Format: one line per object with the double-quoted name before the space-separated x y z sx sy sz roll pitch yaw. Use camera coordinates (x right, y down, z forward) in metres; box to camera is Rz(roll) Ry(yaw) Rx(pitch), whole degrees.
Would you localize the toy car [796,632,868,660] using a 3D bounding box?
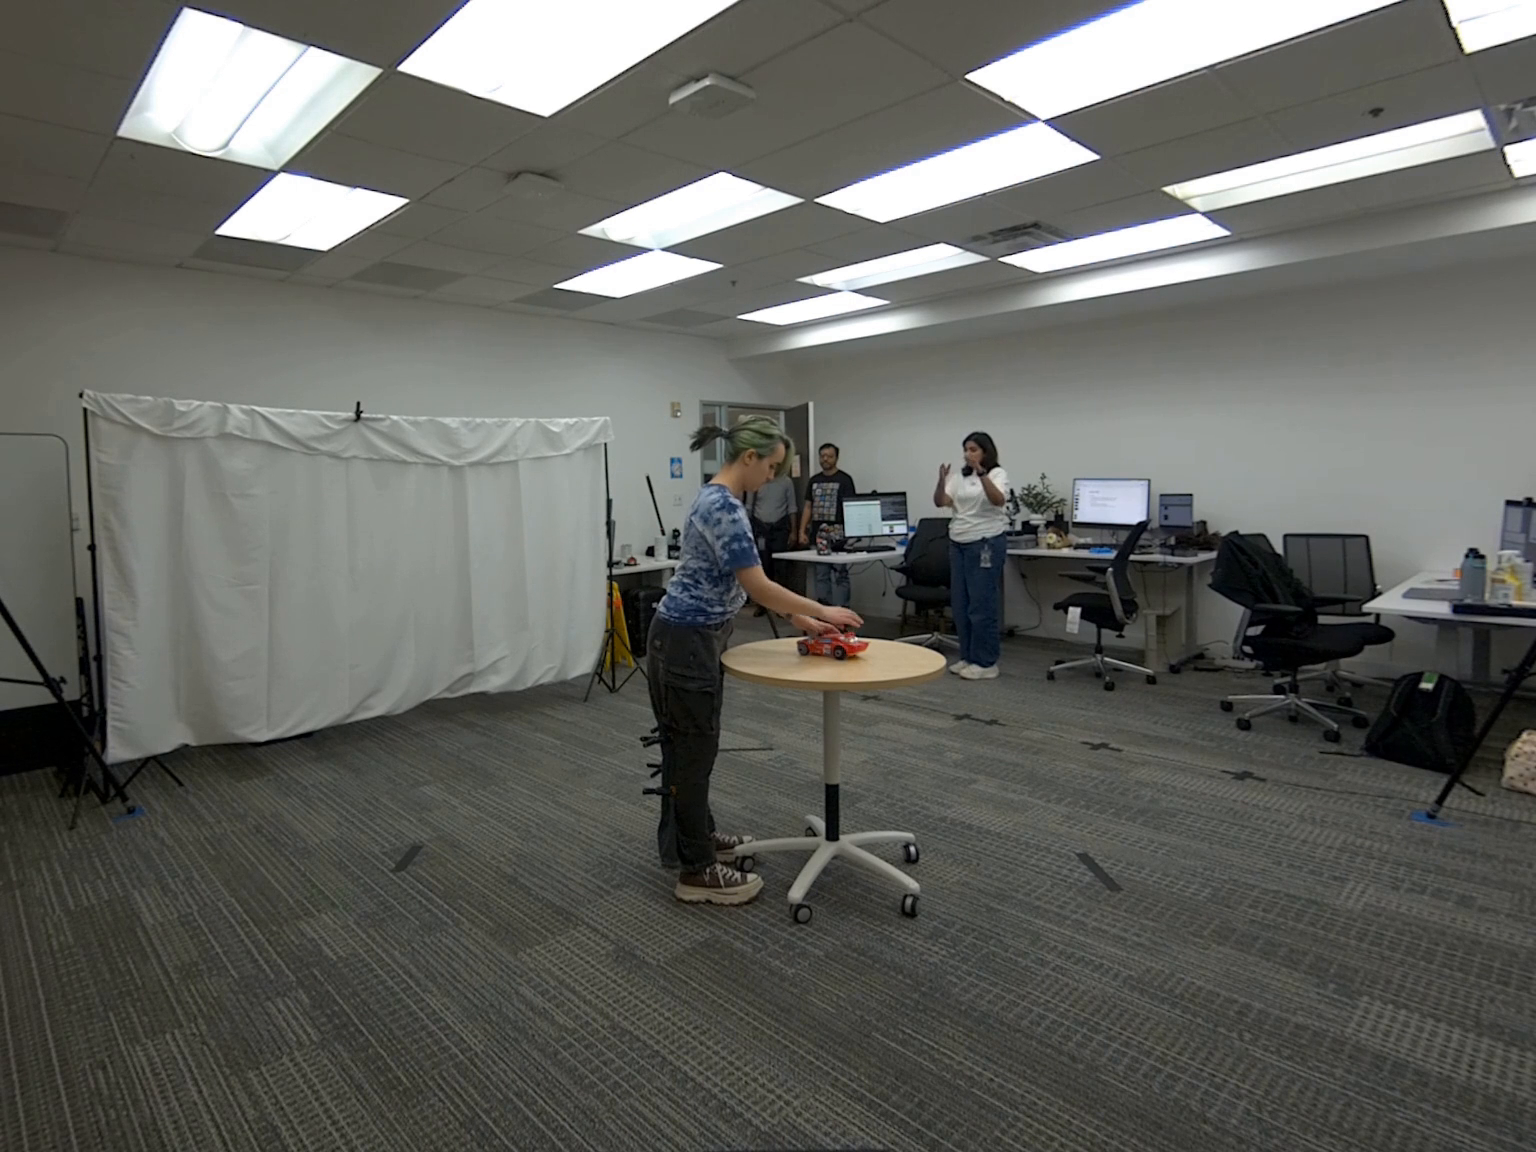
"toy car" 0.230 0.244 2.948 0.260 0.083 0.127 -10 -2 37
